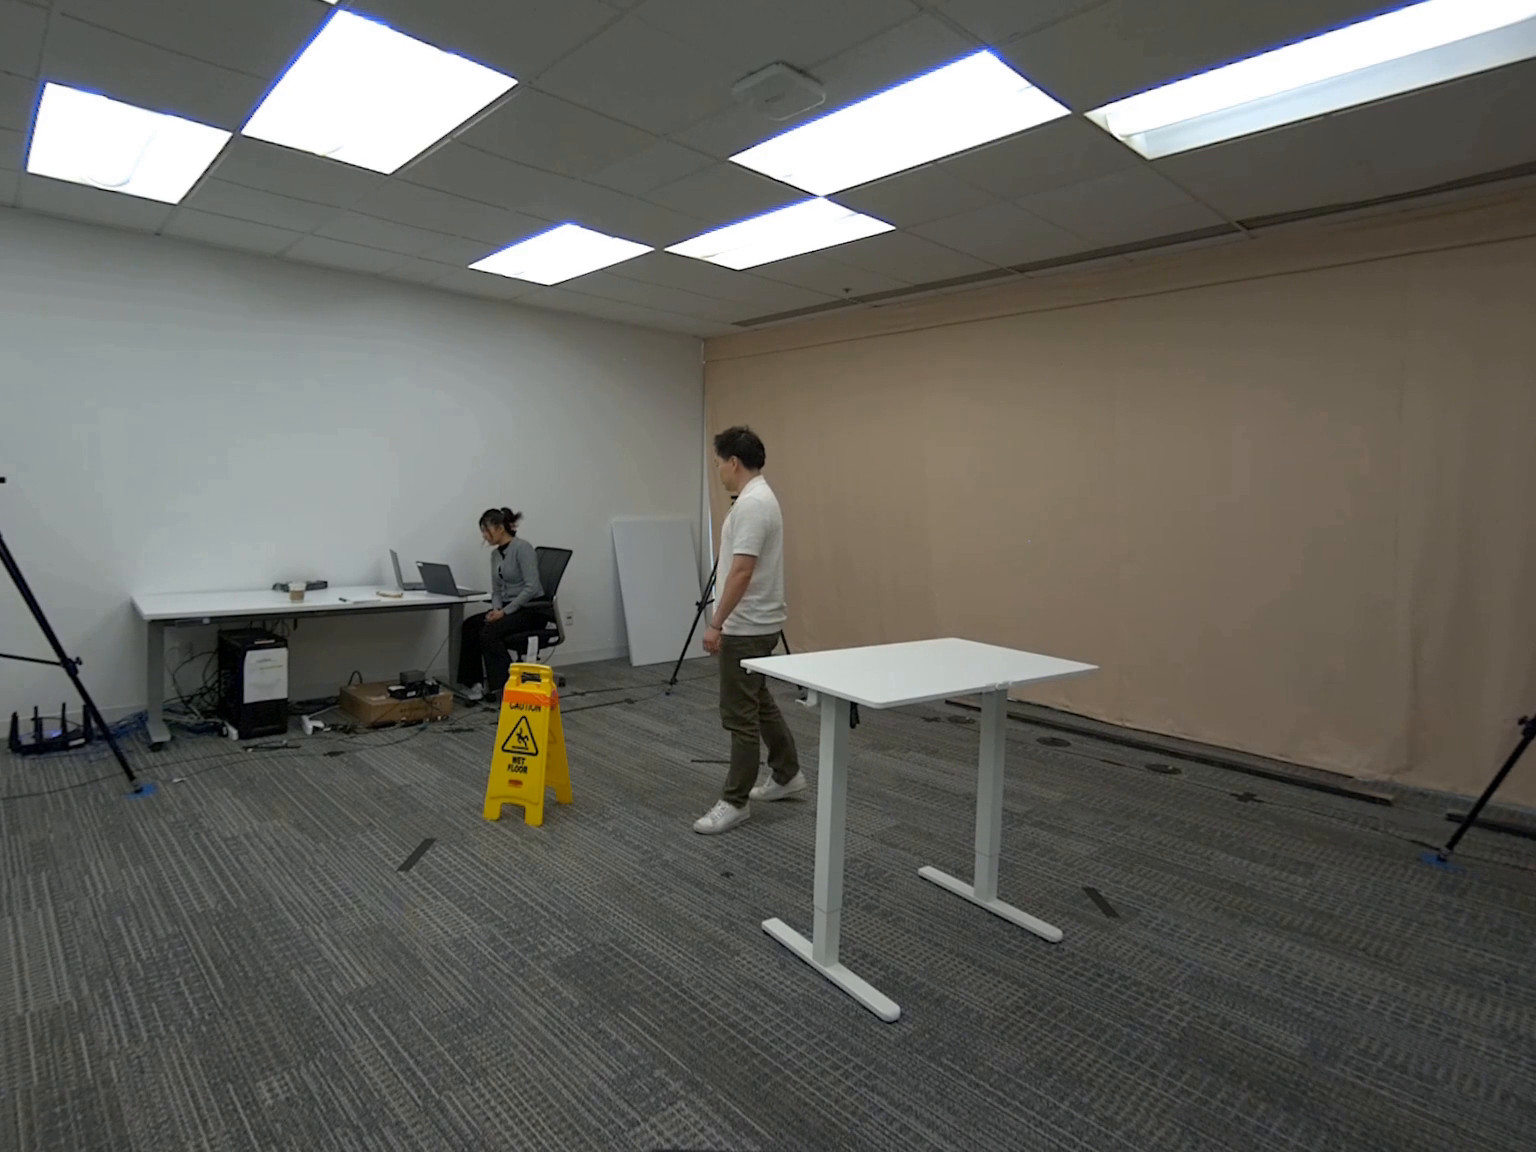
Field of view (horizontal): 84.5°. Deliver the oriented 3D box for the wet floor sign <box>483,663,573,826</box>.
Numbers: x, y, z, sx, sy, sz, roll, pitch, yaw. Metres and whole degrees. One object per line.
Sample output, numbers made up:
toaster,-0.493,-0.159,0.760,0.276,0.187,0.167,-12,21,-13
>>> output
wet floor sign,-1.057,0.705,3.684,0.286,0.644,0.287,4,4,14
